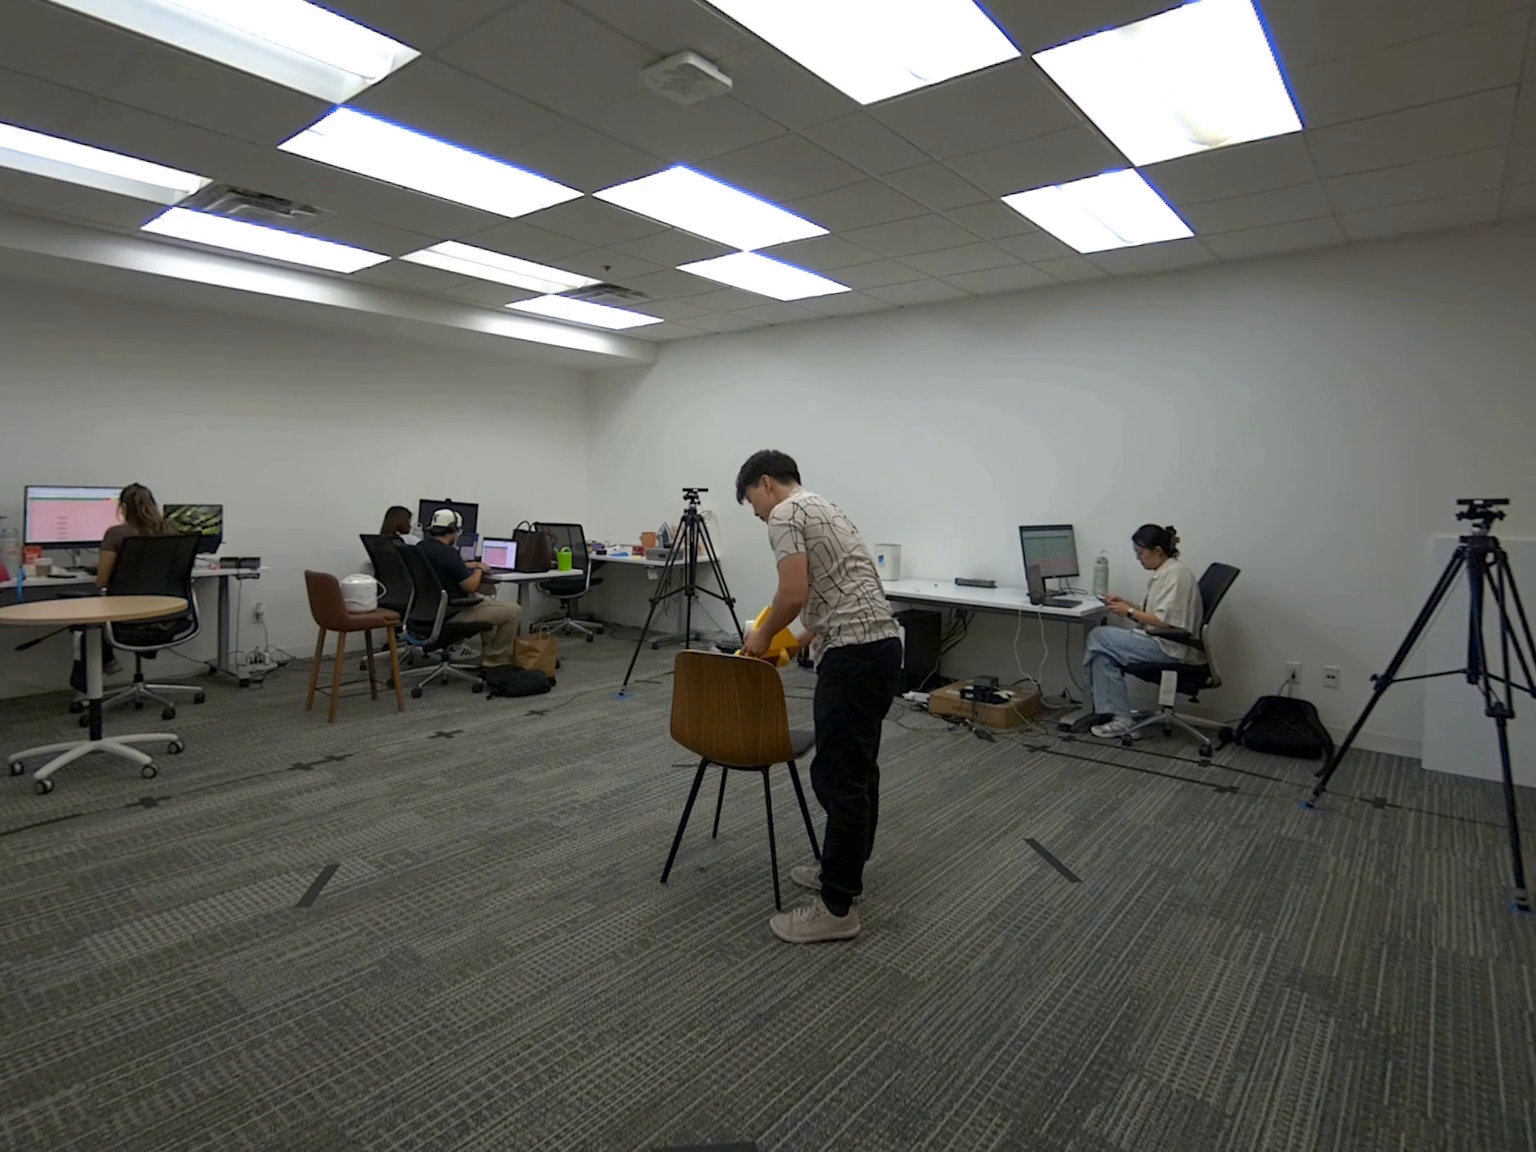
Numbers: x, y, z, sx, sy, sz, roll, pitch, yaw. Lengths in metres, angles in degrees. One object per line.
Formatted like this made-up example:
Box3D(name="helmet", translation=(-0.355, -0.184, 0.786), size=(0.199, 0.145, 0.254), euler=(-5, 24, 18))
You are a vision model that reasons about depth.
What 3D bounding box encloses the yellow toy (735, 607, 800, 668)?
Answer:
Box3D(name="yellow toy", translation=(-0.030, 0.206, 3.068), size=(0.200, 0.228, 0.199), euler=(-6, 13, -26))
